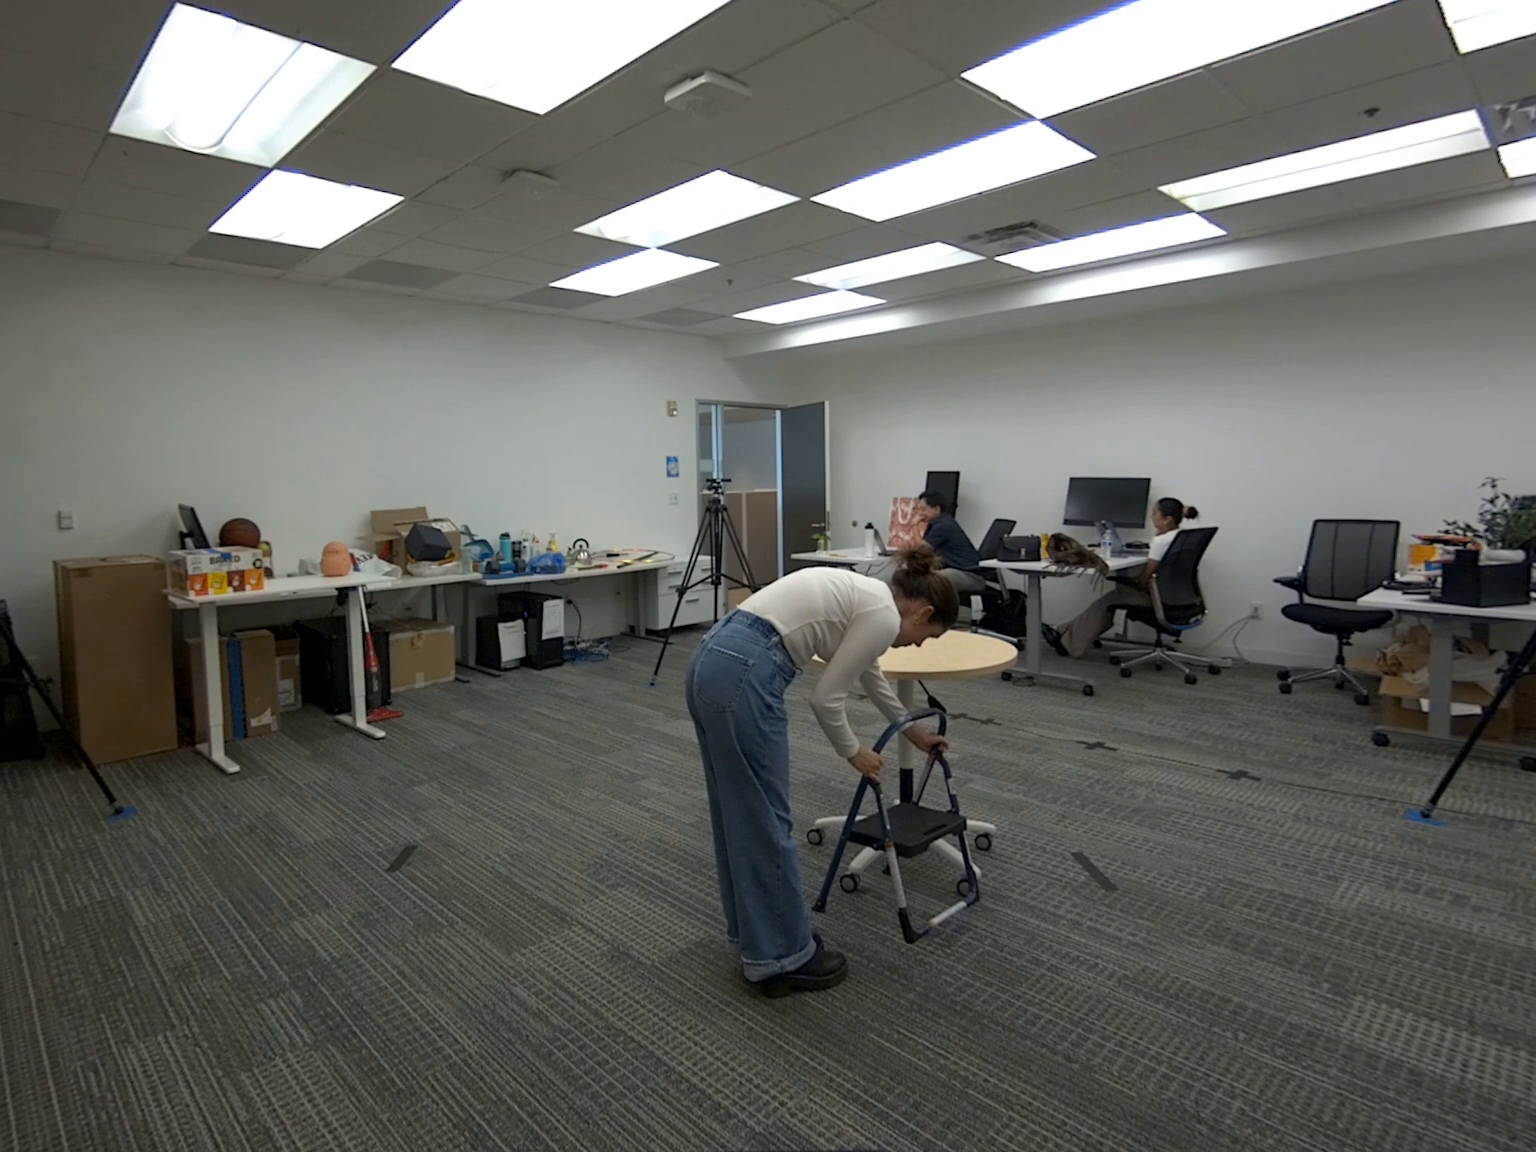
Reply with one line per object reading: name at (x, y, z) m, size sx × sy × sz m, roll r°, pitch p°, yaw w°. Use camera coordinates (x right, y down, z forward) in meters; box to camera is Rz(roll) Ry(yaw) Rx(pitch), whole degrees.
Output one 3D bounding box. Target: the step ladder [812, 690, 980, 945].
step ladder at (0.396, 0.706, 2.630) m, size 0.359 × 0.606 × 0.418 m, roll 0°, pitch -1°, yaw 41°
